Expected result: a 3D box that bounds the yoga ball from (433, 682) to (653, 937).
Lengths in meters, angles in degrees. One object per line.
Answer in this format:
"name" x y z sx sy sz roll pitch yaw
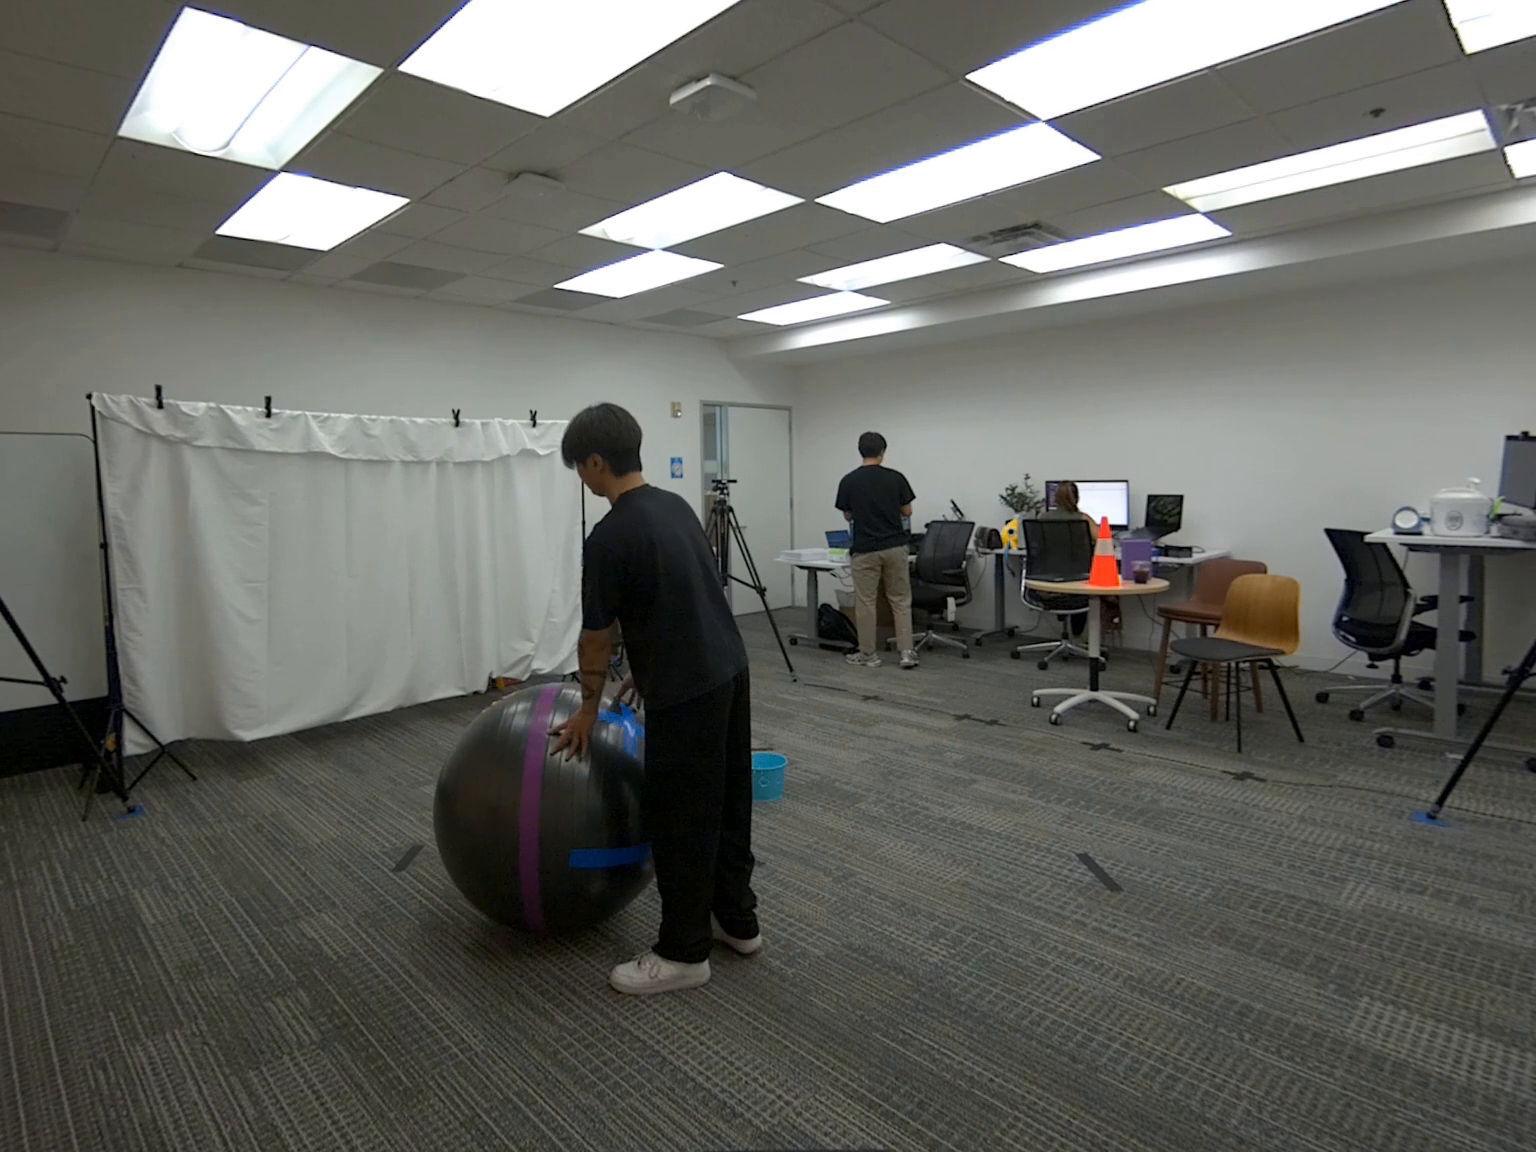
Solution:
"yoga ball" -0.679 0.737 2.738 0.757 0.755 0.762 -1 5 -2
